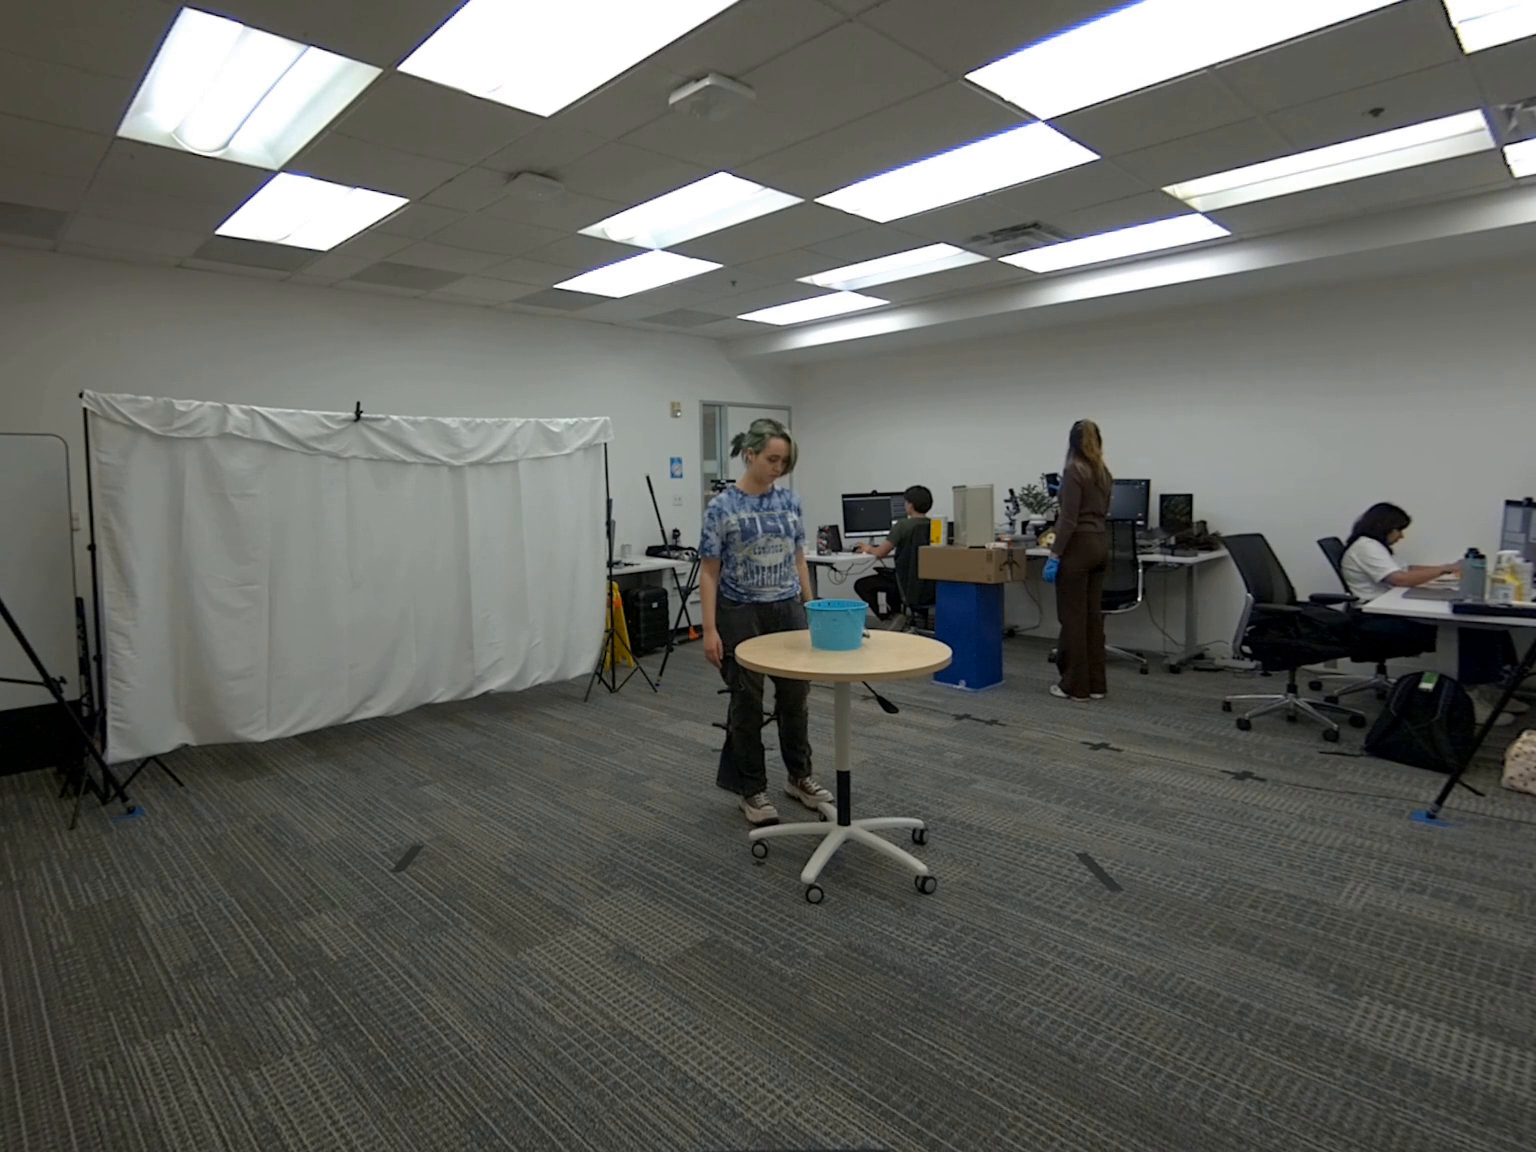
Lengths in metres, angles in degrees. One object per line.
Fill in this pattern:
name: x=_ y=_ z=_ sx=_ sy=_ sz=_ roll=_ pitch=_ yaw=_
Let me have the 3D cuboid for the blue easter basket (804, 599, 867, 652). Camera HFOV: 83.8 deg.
blue easter basket: x=0.263 y=0.183 z=3.112 sx=0.243 sy=0.155 sz=0.245 roll=-2 pitch=6 yaw=-2
